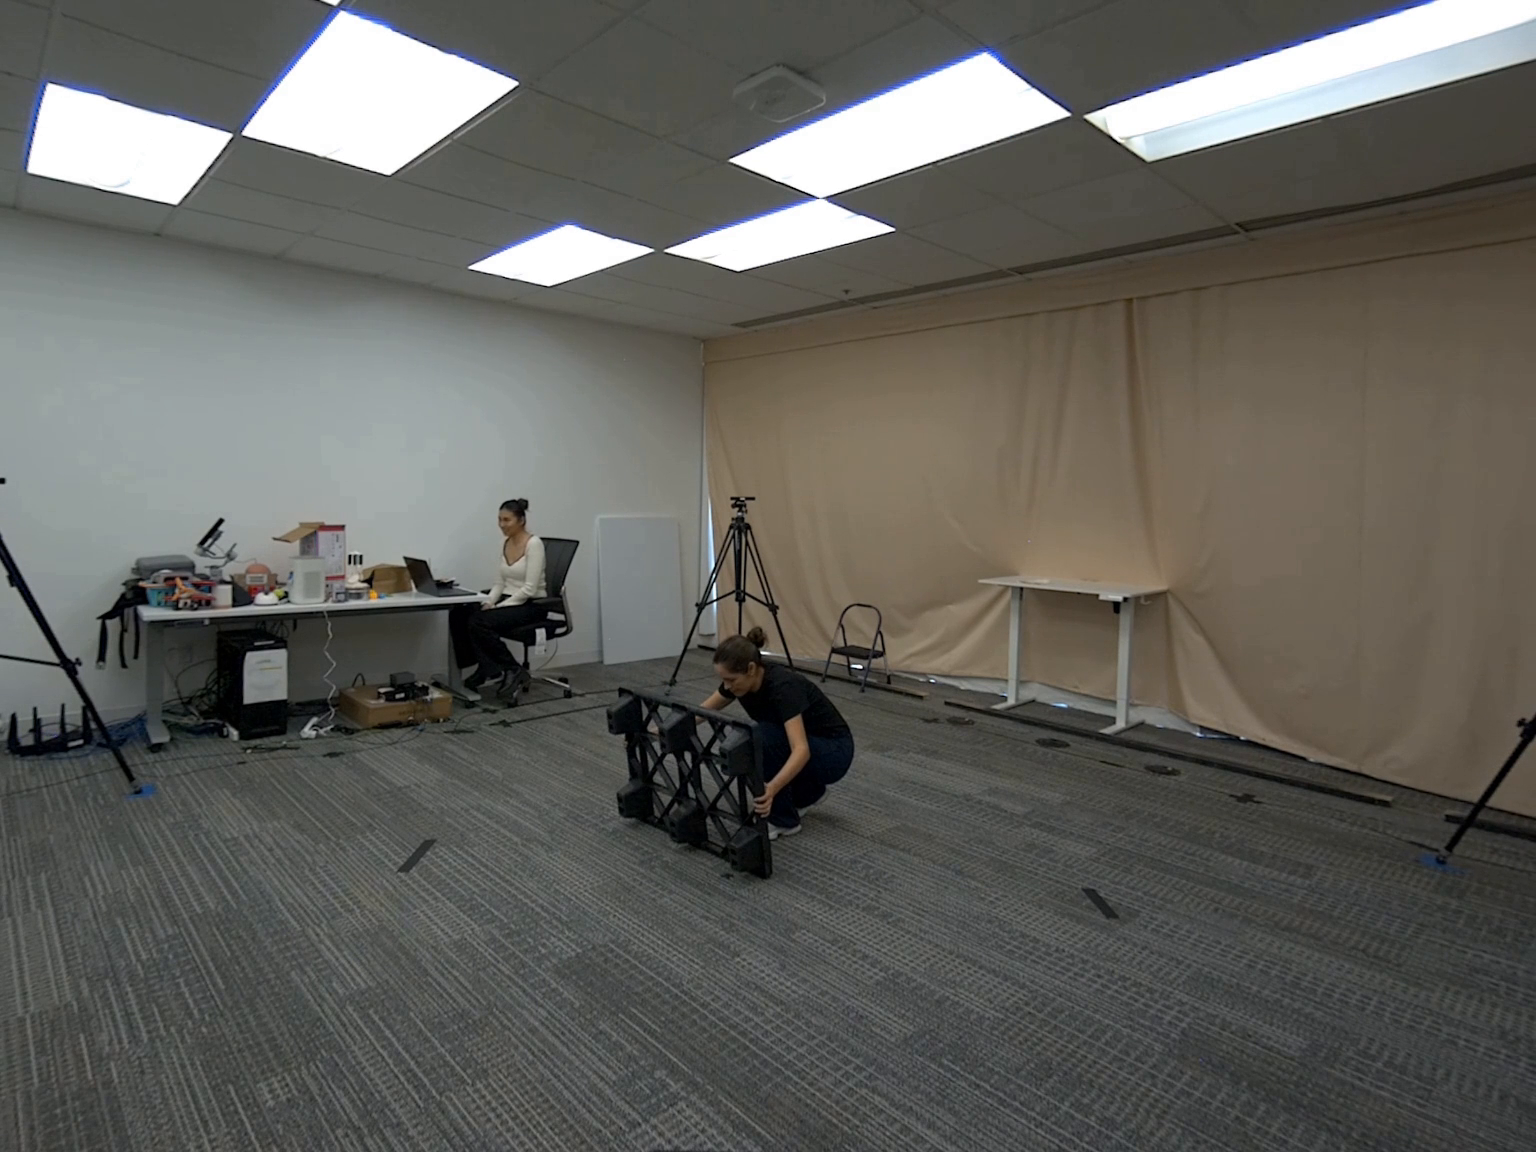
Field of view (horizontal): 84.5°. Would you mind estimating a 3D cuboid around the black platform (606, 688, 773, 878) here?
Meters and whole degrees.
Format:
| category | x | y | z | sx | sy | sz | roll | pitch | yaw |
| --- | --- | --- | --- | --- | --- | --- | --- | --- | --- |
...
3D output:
| category | x | y | z | sx | sy | sz | roll | pitch | yaw |
| --- | --- | --- | --- | --- | --- | --- | --- | --- | --- |
| black platform | -0.340 | 0.800 | 3.281 | 0.826 | 0.600 | 0.141 | 6 | 15 | 45 |
